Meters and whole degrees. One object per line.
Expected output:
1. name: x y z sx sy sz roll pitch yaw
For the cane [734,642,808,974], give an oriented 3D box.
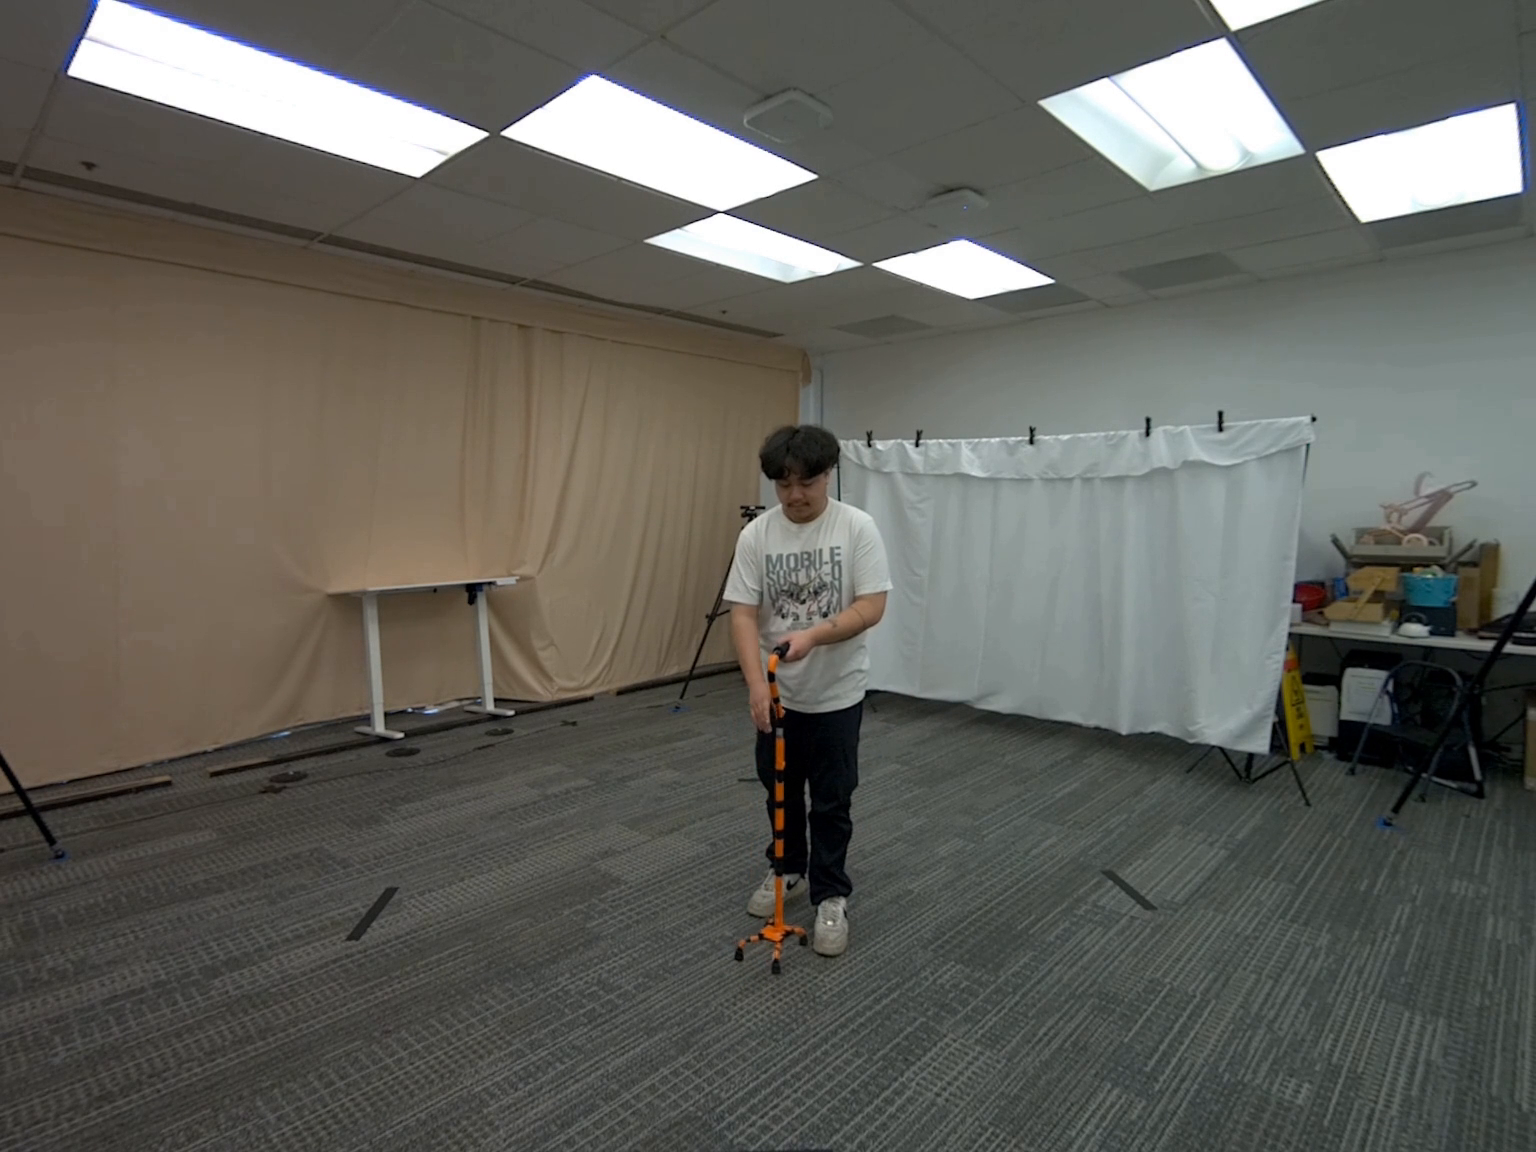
1. cane: 0.018 0.665 2.452 0.156 0.906 0.201 3 5 31
